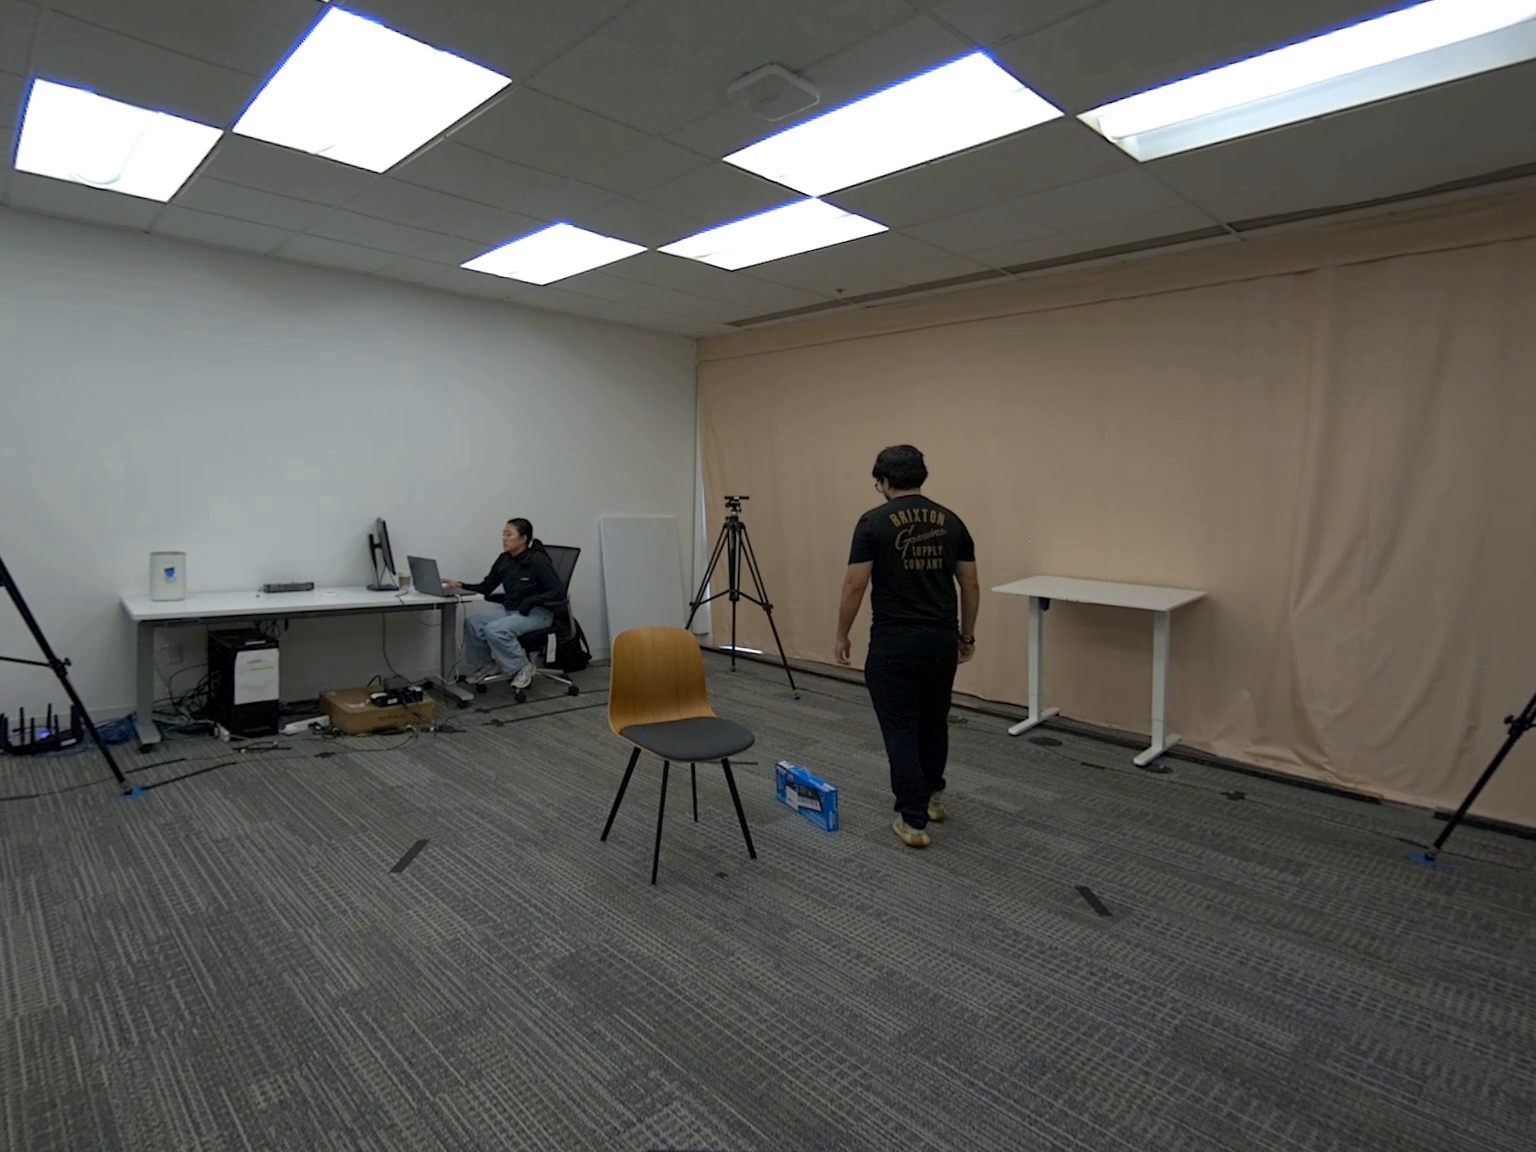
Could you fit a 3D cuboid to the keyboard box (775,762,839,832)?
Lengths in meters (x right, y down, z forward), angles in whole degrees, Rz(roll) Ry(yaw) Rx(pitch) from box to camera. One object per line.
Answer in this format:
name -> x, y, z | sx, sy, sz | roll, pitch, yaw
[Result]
keyboard box -> 0.159, 0.972, 3.745 | 0.058, 0.175, 0.447 | -5, 7, -29
